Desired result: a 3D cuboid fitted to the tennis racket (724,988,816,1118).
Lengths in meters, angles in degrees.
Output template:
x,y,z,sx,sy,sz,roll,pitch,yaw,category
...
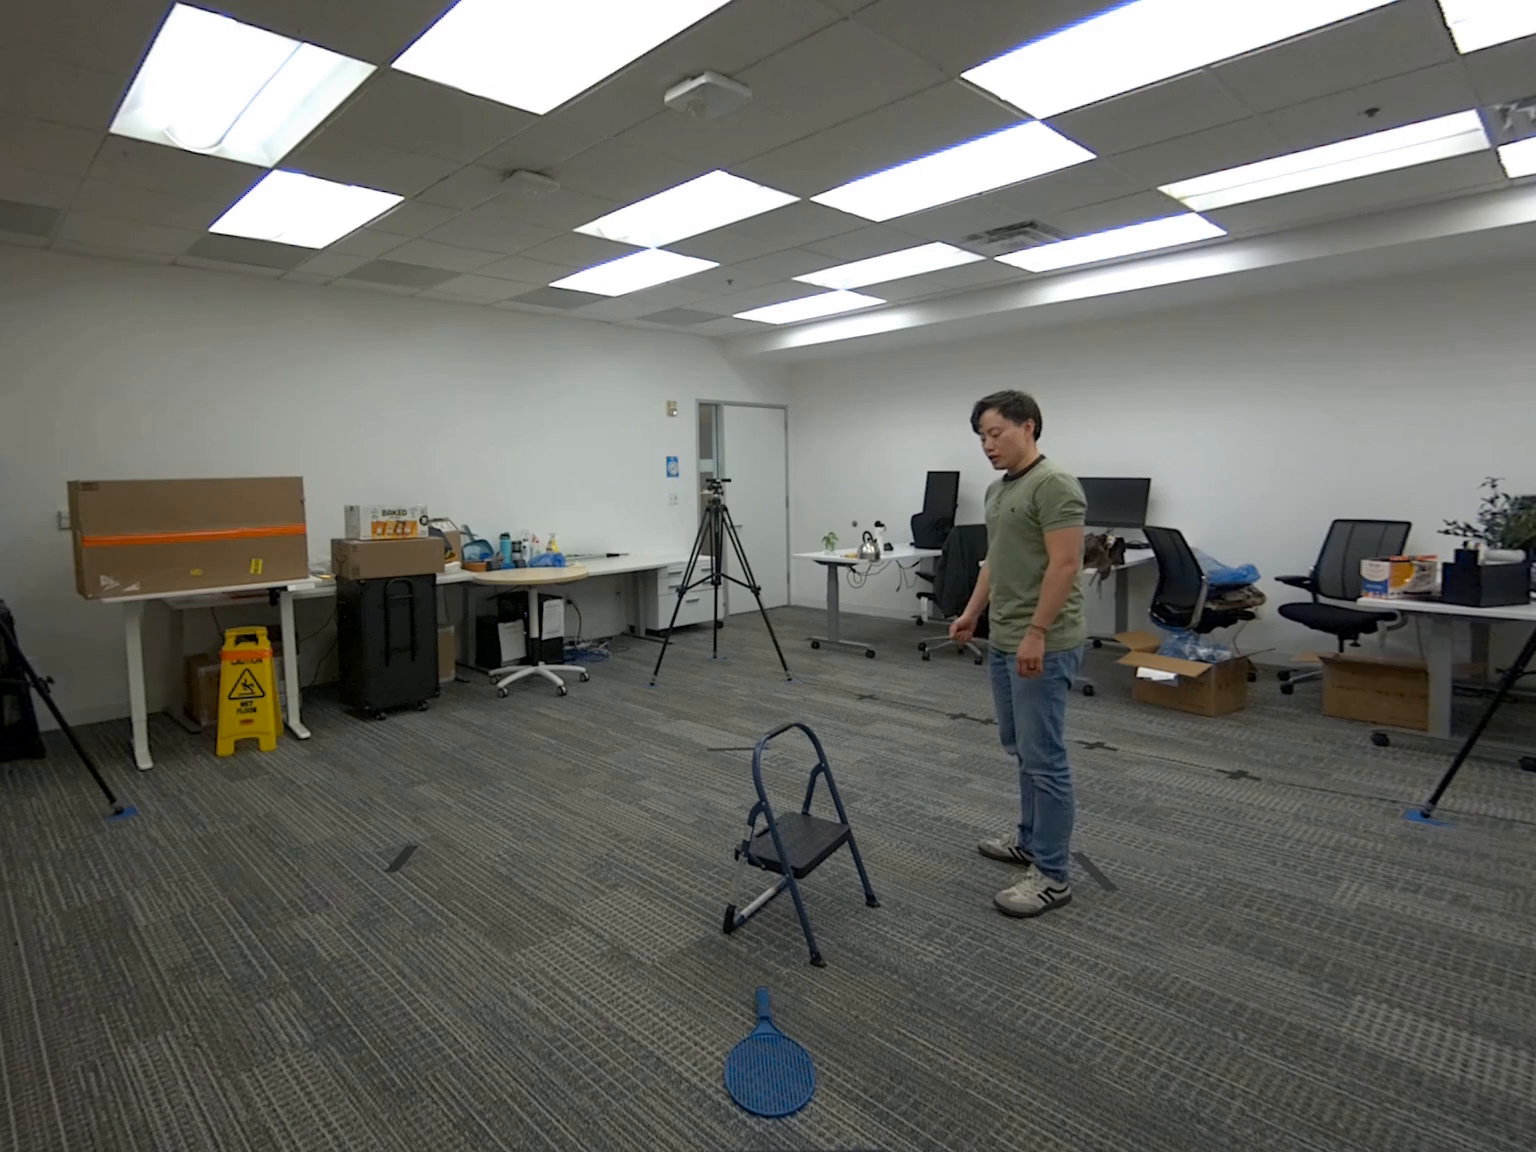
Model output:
x,y,z,sx,sy,sz,roll,pitch,yaw,category
0.007,1.158,2.081,0.214,0.031,0.436,-1,8,-2,tennis racket
